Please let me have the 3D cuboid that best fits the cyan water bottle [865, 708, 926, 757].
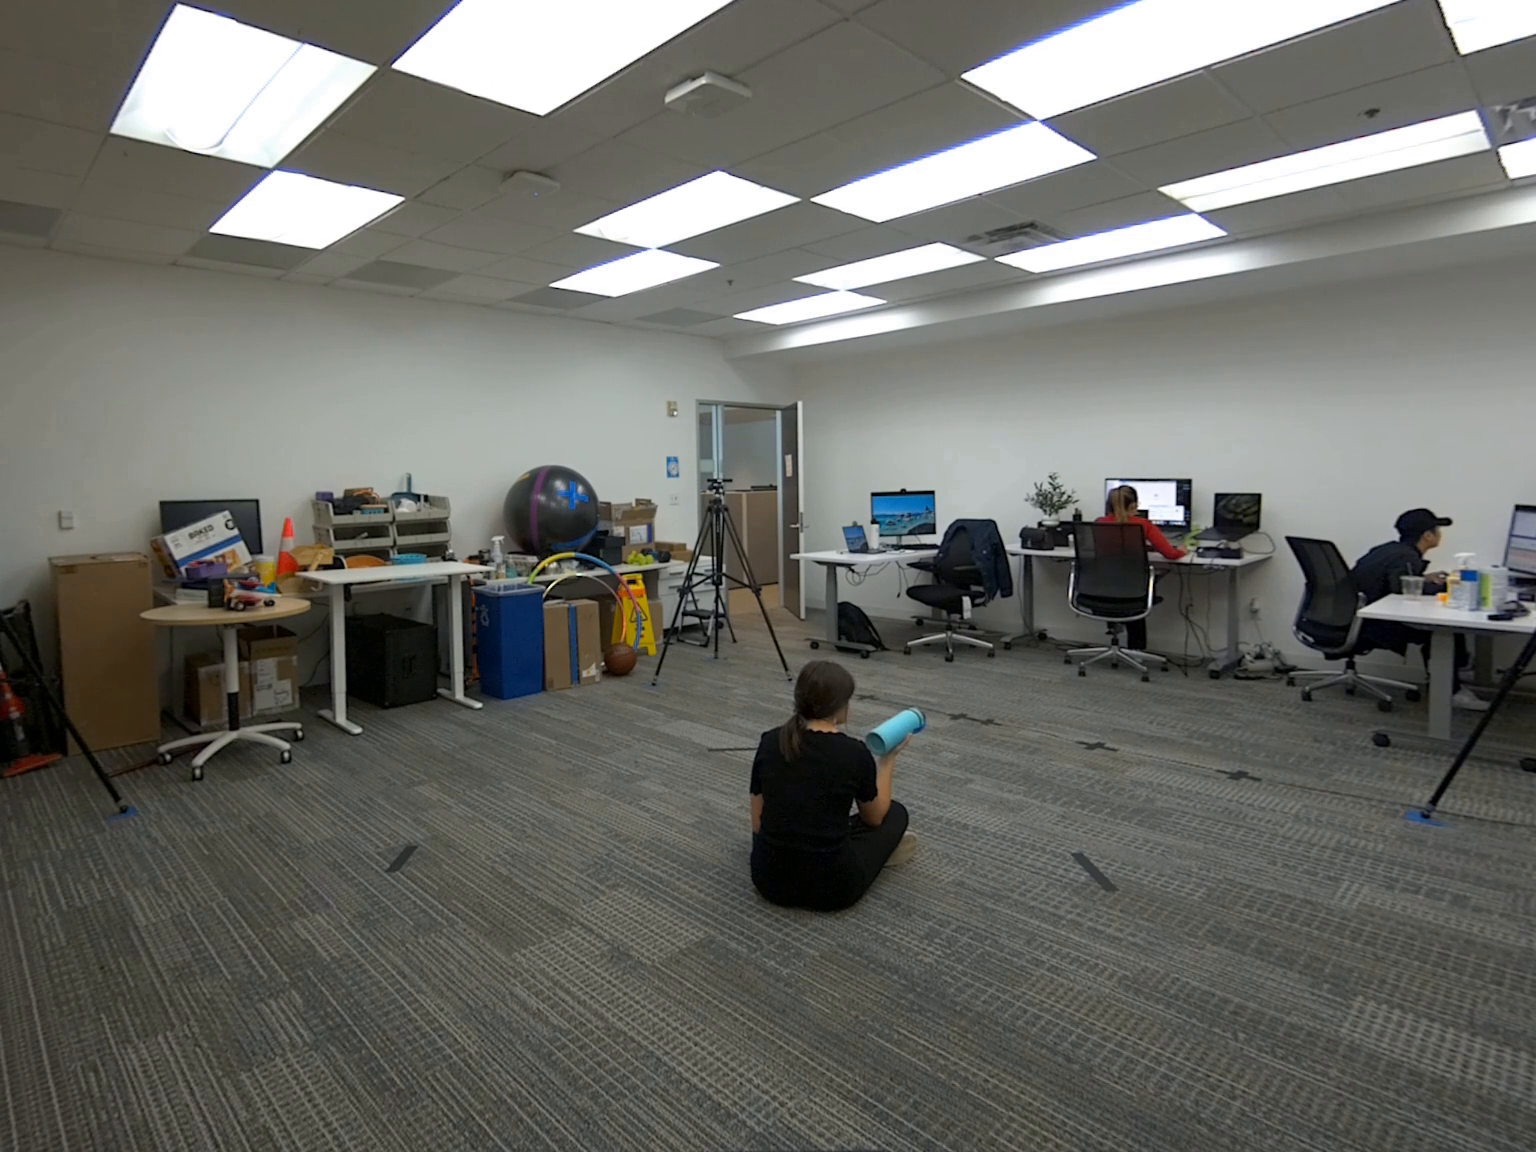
[{"bbox_3d":[0.476,0.559,3.116,0.095,0.091,0.278,4,17,44],"label":"cyan water bottle"}]
